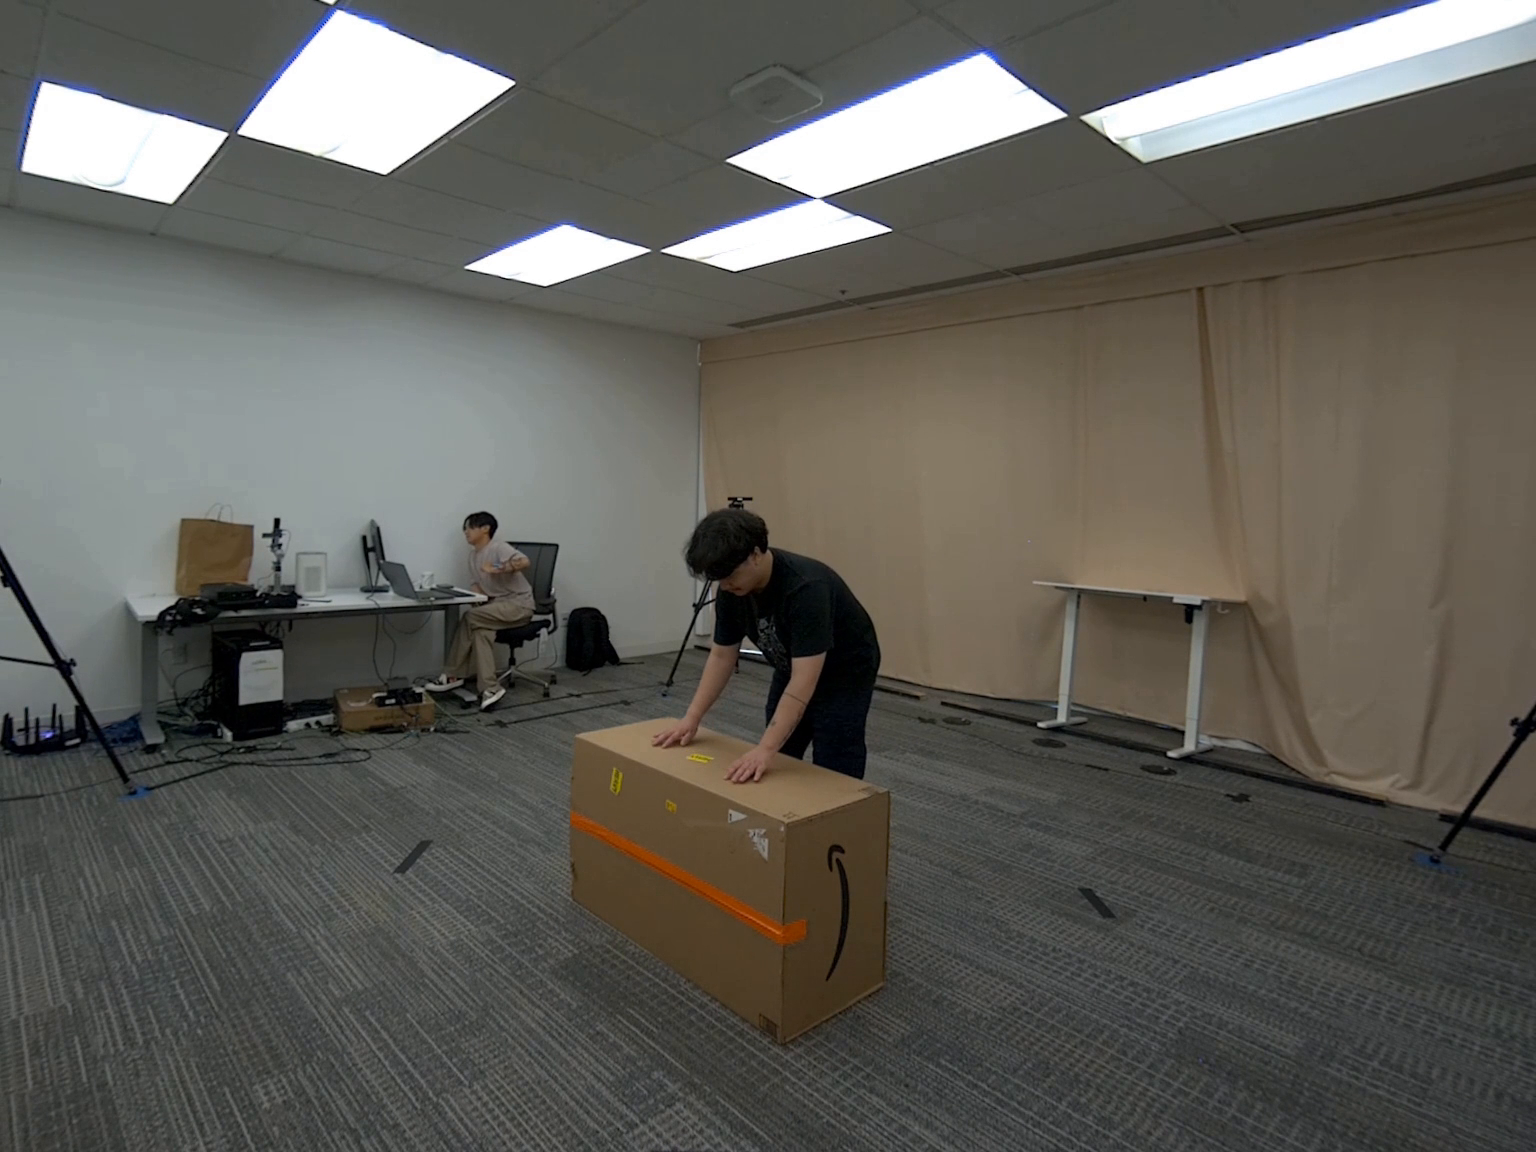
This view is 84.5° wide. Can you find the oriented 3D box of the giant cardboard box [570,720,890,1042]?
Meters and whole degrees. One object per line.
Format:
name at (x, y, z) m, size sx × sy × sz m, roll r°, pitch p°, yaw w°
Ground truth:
giant cardboard box at (-0.173, 0.866, 2.641) m, size 0.437 × 0.582 × 1.053 m, roll -3°, pitch 6°, yaw -43°
